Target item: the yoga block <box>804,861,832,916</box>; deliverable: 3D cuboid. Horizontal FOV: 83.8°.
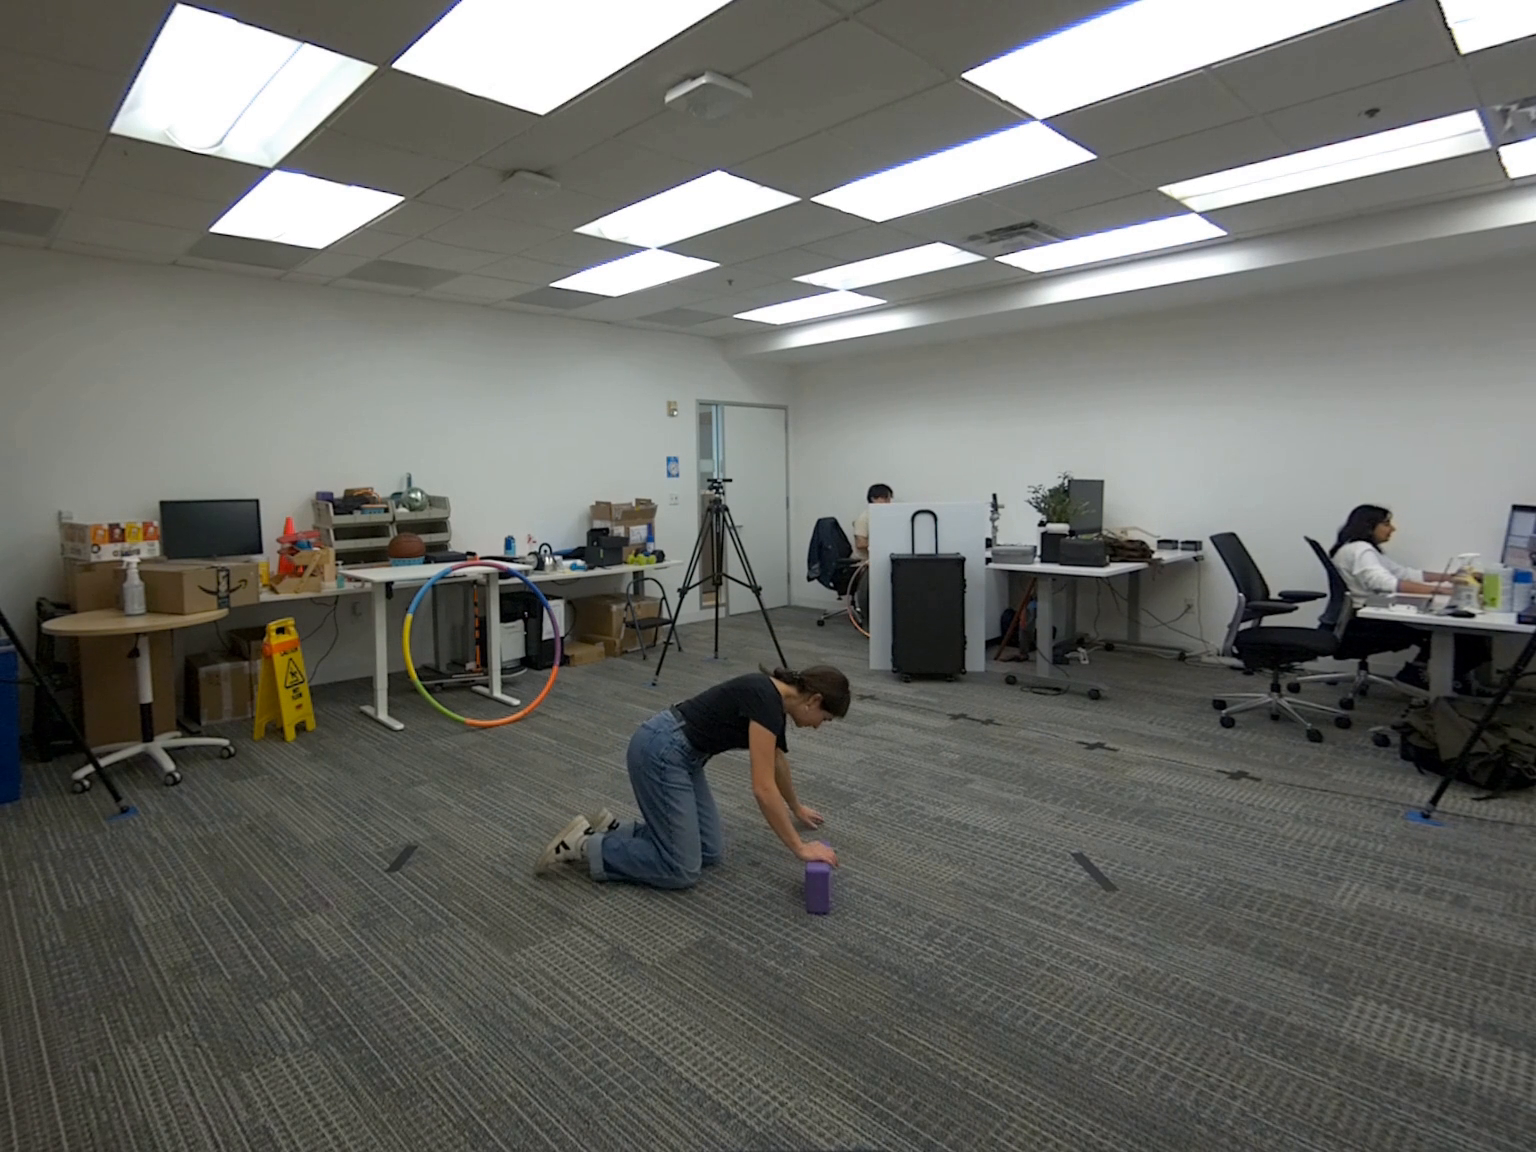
[{"bbox_3d":[0.171,0.992,2.846,0.077,0.149,0.229,-1,3,3],"label":"yoga block"}]
